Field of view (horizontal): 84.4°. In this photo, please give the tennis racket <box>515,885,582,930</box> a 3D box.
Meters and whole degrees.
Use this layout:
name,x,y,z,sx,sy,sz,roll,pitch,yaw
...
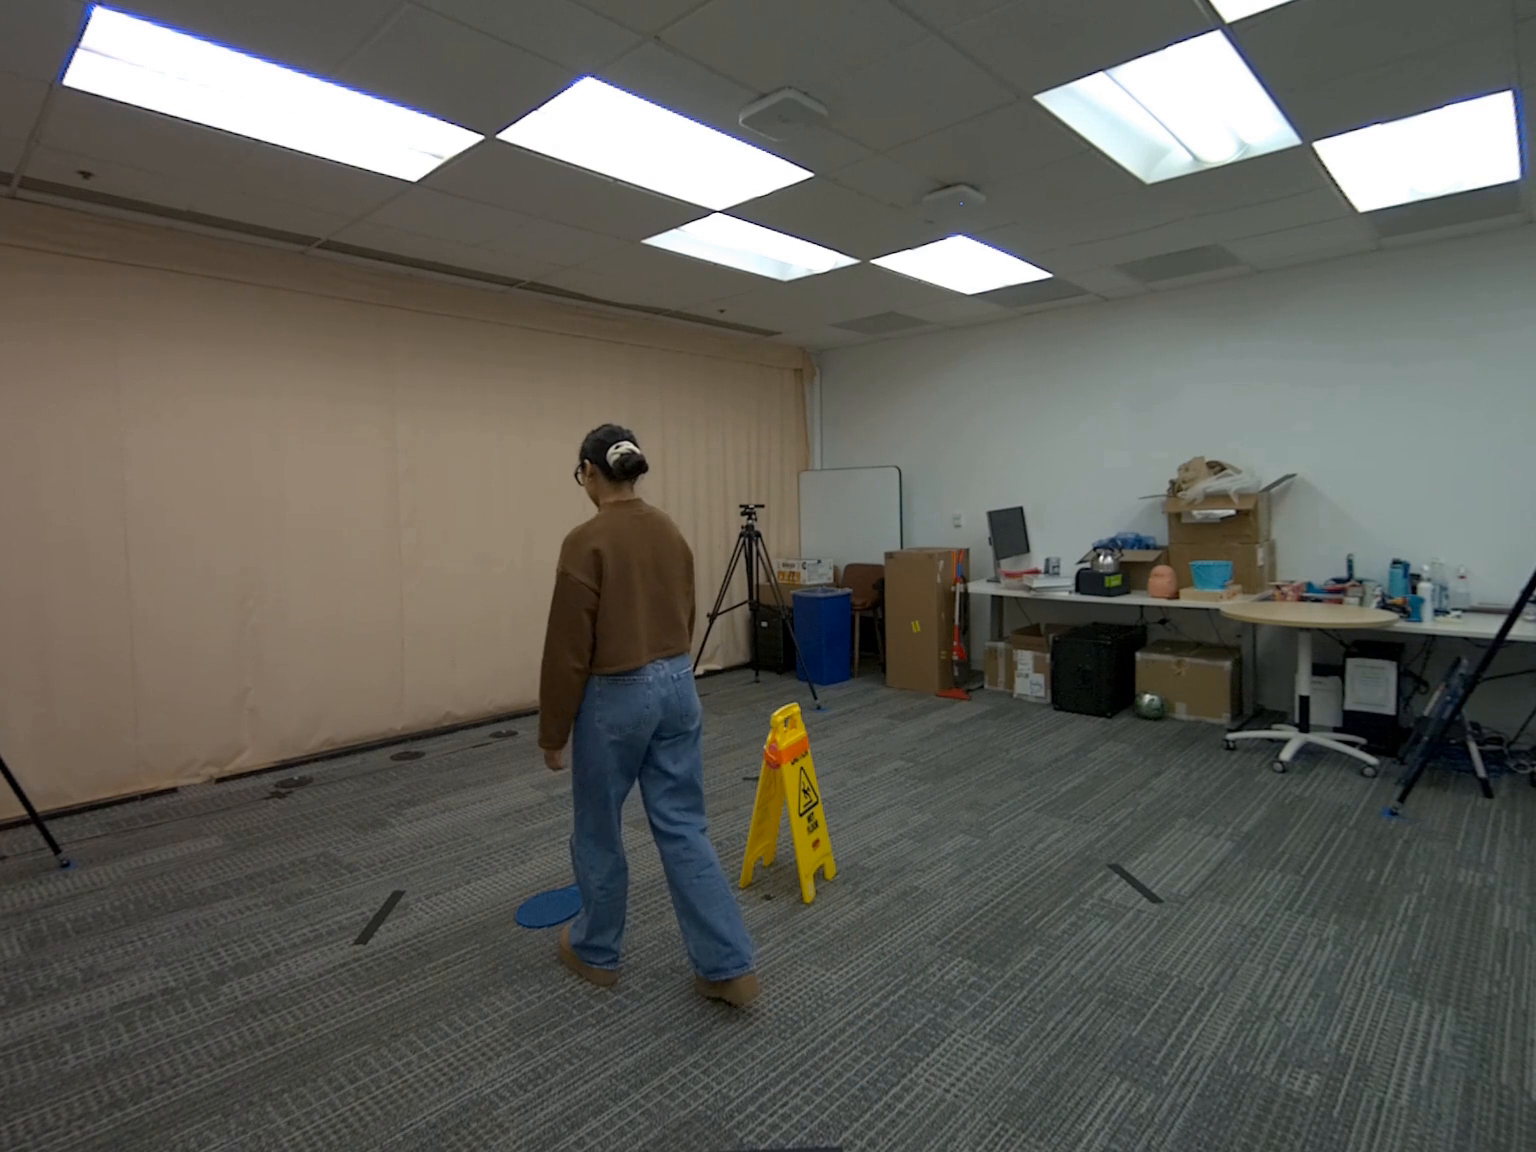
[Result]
name,x,y,z,sx,sy,sz,roll,pitch,yaw
tennis racket,-0.715,1.142,2.996,0.220,0.031,0.422,2,7,28
